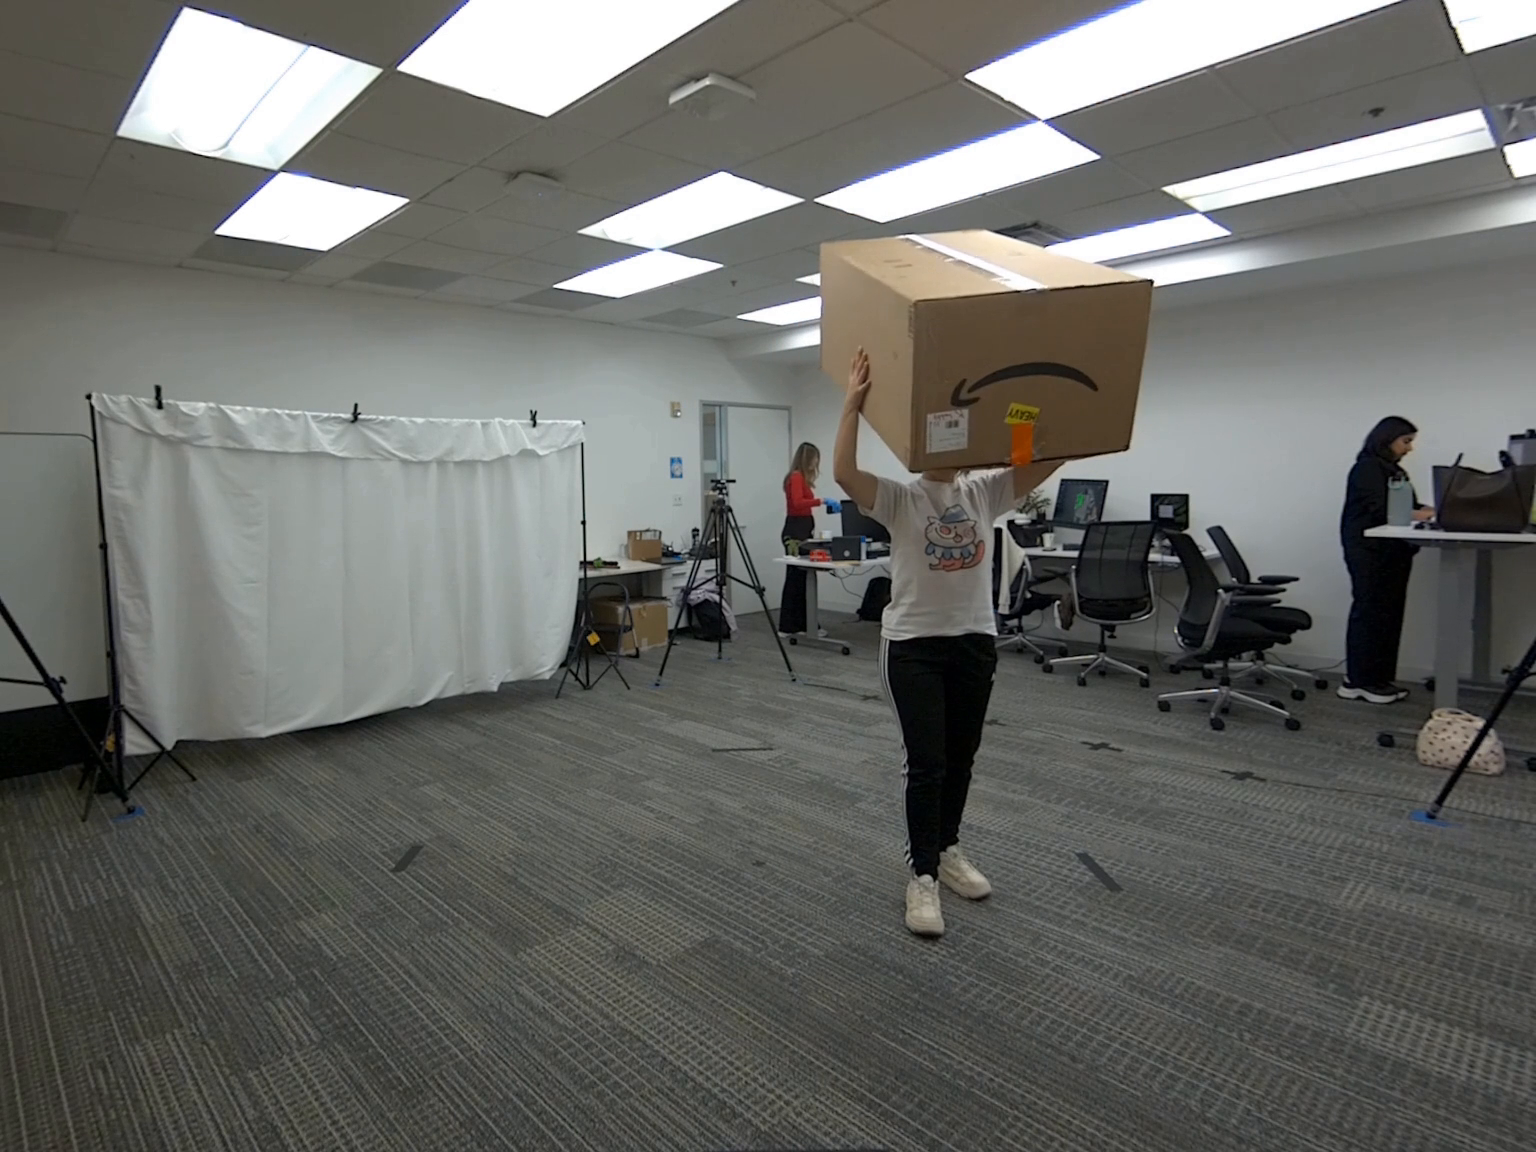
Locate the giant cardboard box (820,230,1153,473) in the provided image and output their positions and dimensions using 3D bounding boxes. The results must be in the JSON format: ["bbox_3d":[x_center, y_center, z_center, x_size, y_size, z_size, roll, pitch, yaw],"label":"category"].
[{"bbox_3d":[0.549,-0.707,2.496,0.581,0.436,1.056,-6,28,-6],"label":"giant cardboard box"}]
